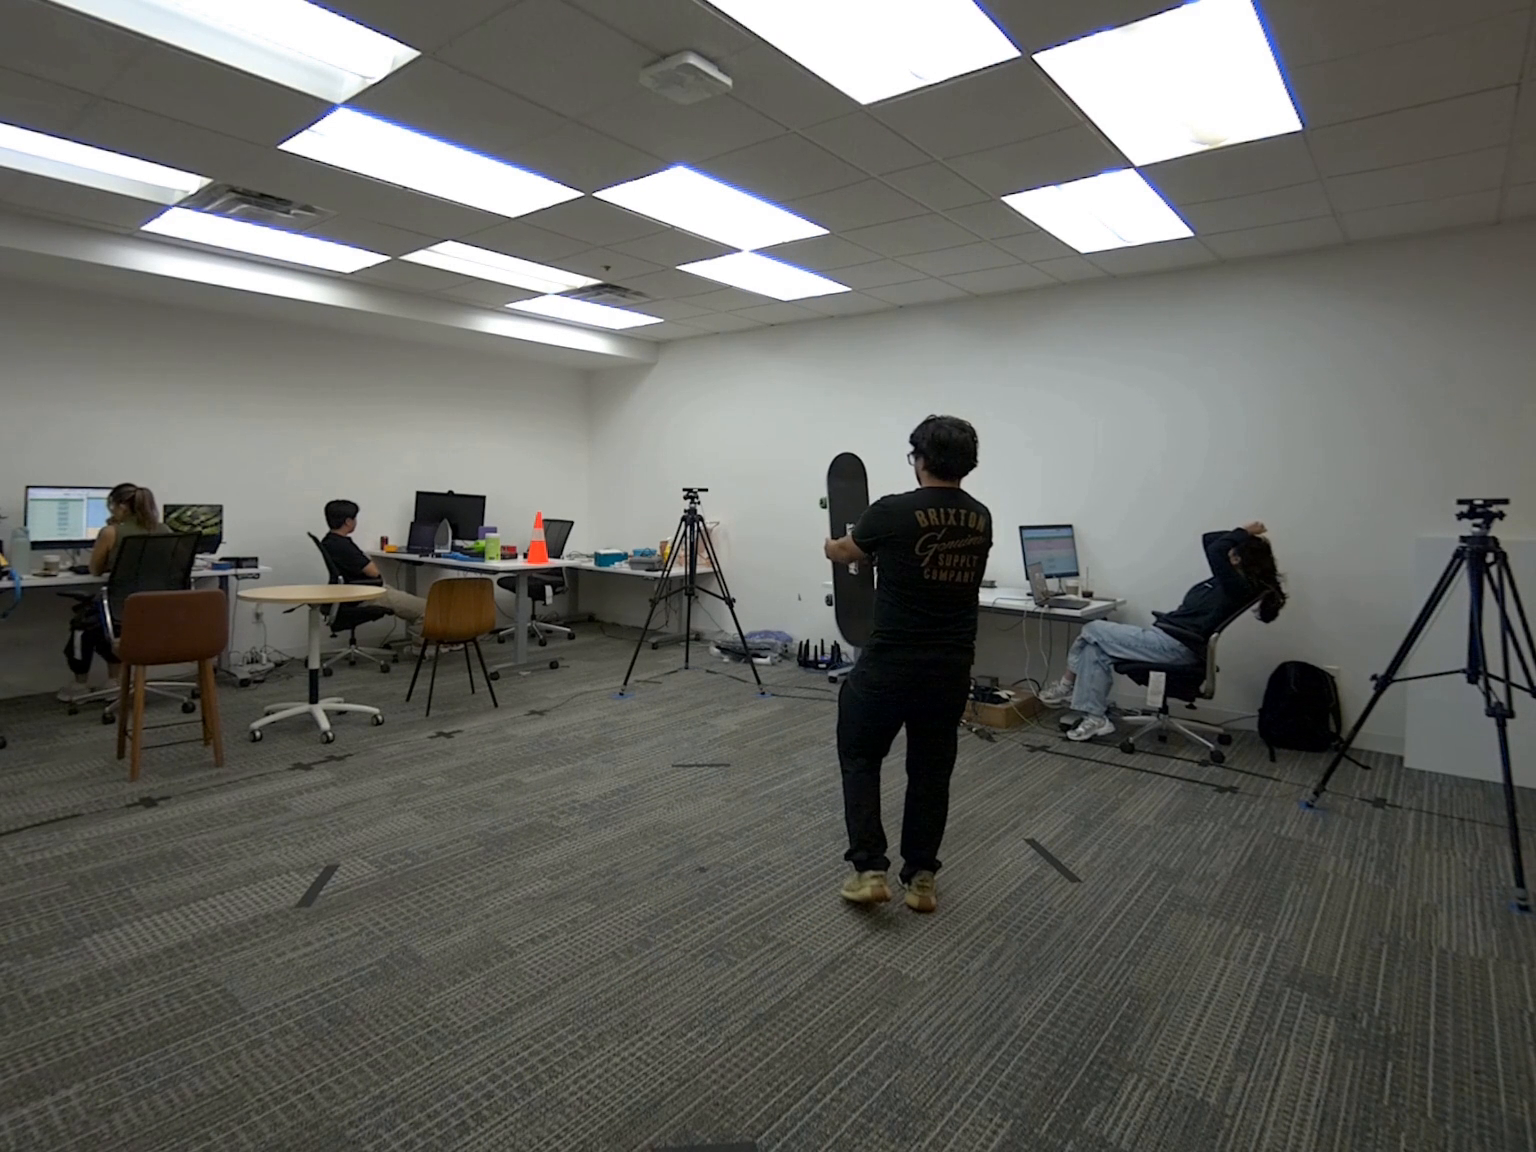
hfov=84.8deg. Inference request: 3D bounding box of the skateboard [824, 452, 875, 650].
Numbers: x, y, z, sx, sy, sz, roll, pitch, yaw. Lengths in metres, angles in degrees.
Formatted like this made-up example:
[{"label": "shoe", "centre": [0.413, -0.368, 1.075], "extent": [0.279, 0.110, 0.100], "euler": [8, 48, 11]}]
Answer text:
[{"label": "skateboard", "centre": [0.316, -0.107, 3.421], "extent": [0.189, 0.794, 0.111], "euler": [2, -12, -22]}]
